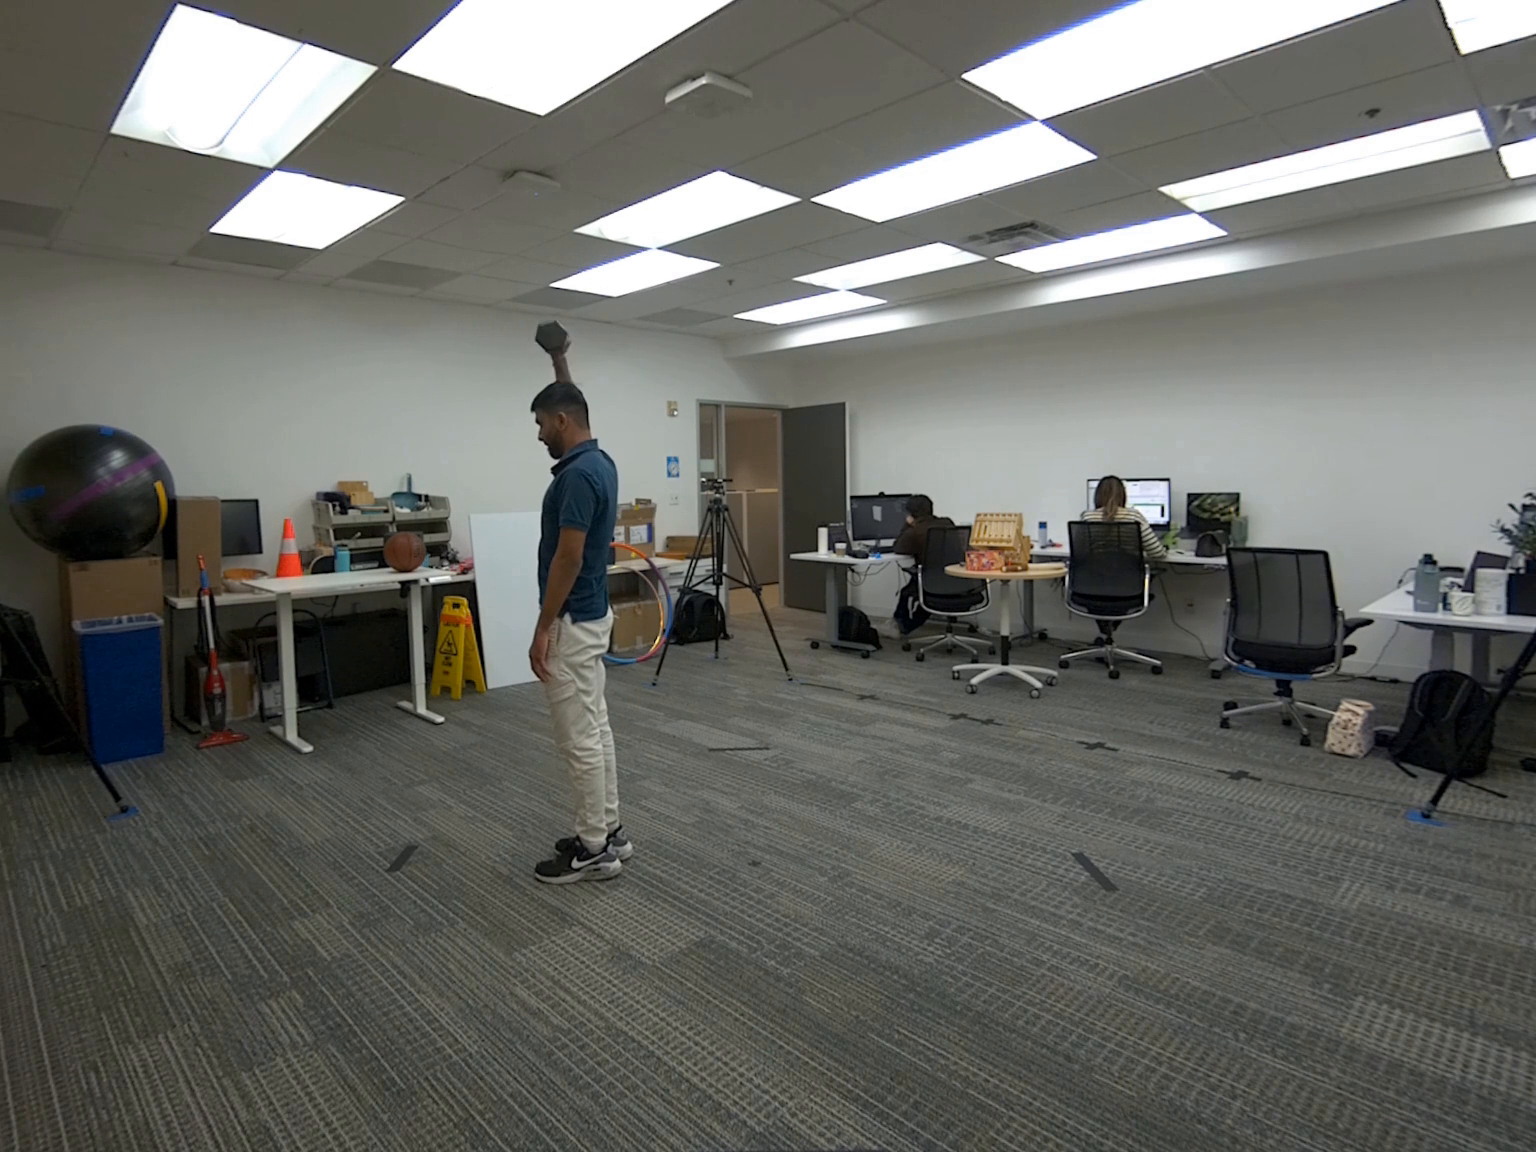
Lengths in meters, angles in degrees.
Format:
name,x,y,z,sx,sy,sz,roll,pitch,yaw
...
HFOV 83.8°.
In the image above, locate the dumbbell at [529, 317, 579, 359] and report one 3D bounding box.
name,x,y,z,sx,sy,sz,roll,pitch,yaw
dumbbell,-0.810,-0.902,3.254,0.123,0.107,0.298,-15,13,-4
